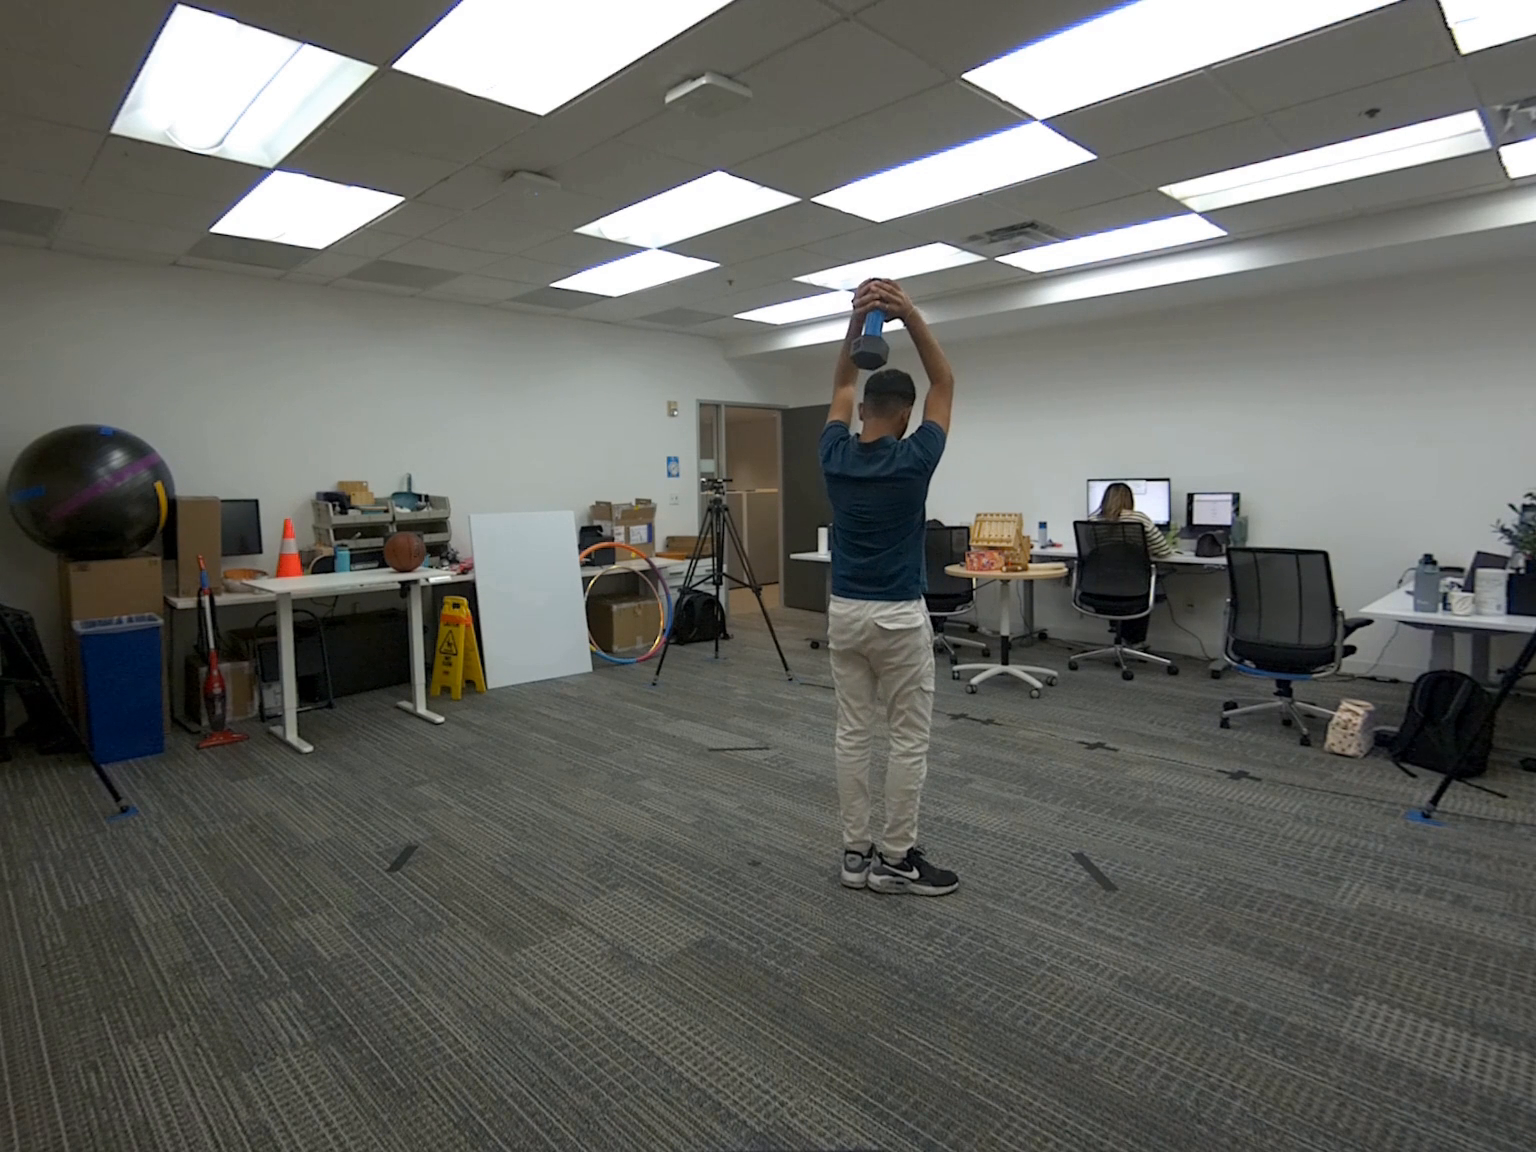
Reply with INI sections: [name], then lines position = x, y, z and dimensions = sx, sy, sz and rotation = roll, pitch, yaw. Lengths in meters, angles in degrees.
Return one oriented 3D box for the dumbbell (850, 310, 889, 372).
[dumbbell]
position = 0.354, -0.812, 2.778
dimensions = 0.112, 0.296, 0.118
rotation = 4, -22, 33
